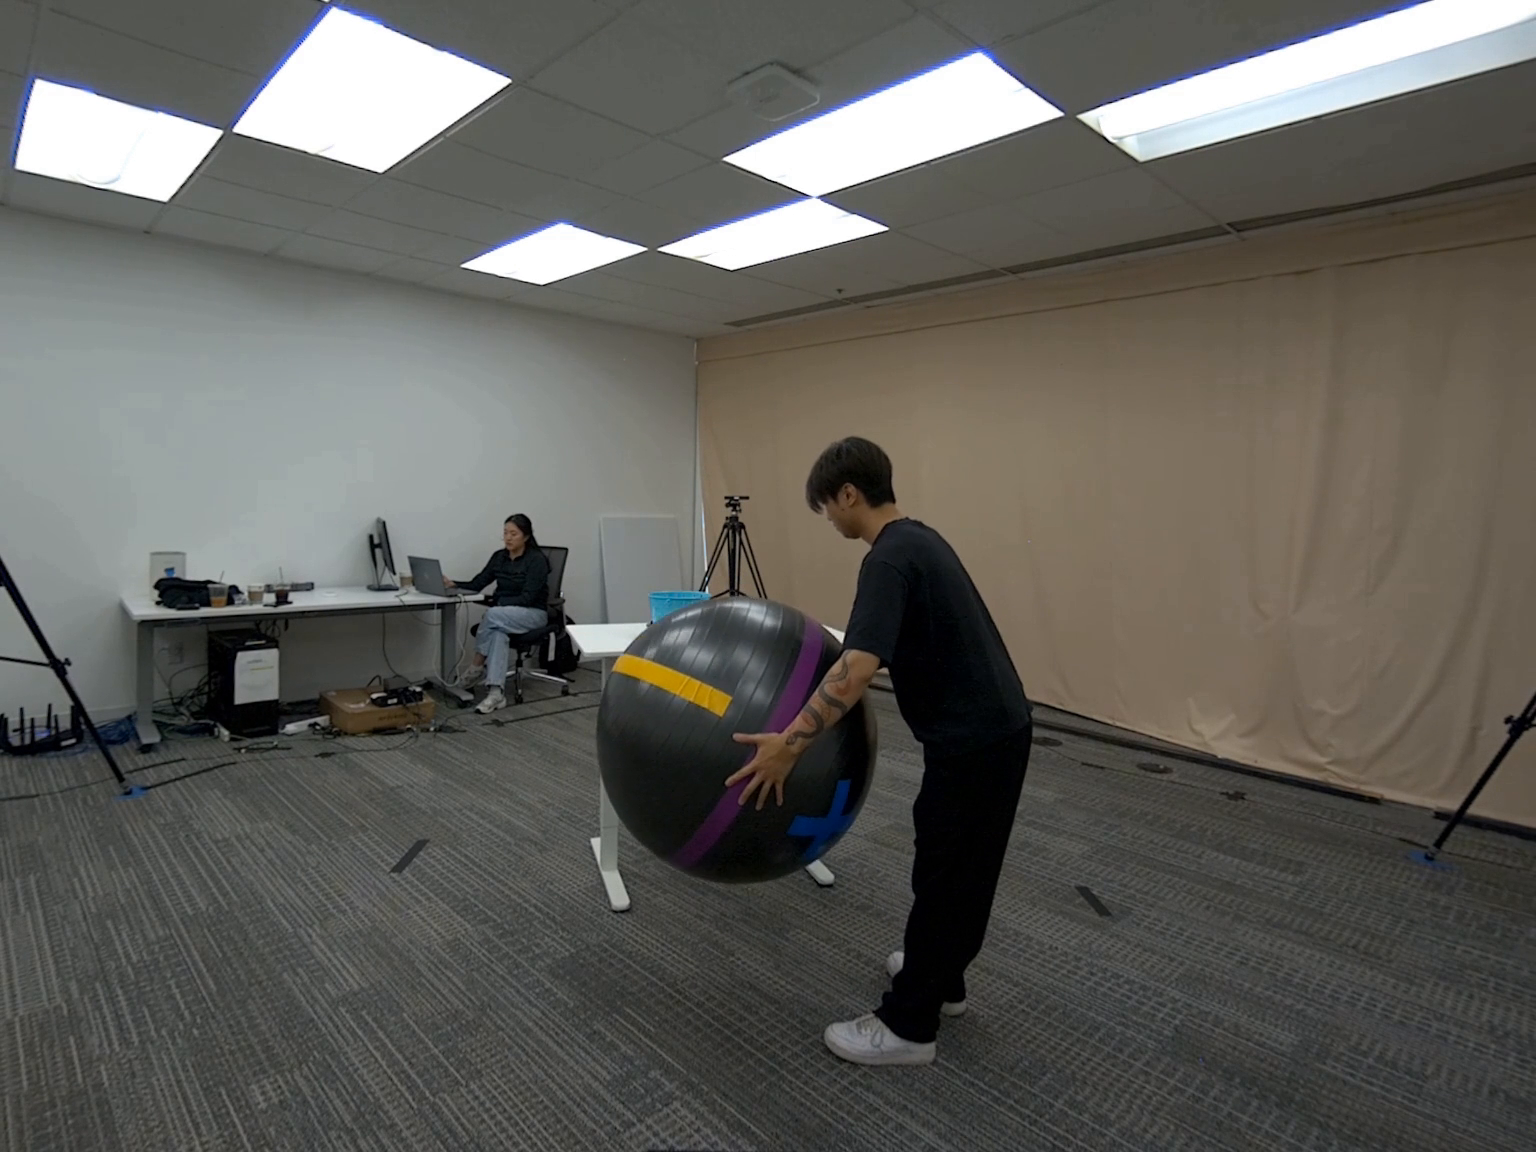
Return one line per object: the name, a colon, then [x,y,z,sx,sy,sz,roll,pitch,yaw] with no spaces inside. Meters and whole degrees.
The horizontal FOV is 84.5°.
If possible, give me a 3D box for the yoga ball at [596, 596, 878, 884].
yoga ball: [-0.087,0.444,2.288,0.757,0.756,0.761,1,4,-1]
